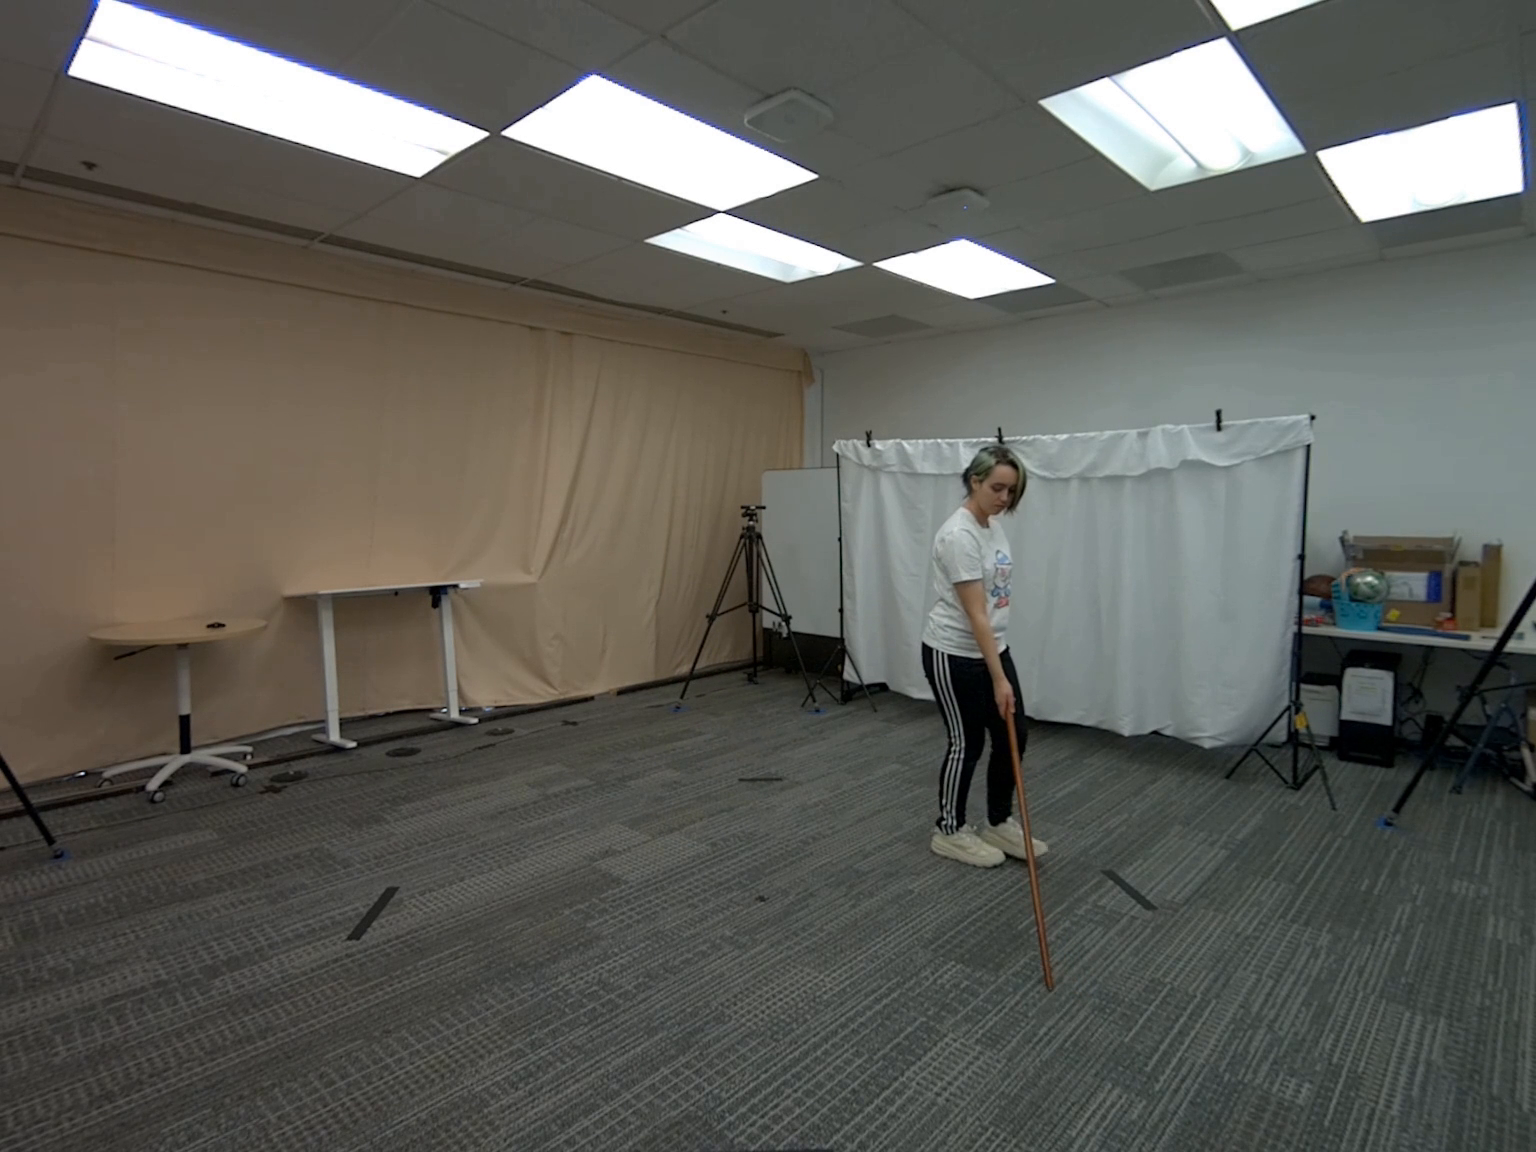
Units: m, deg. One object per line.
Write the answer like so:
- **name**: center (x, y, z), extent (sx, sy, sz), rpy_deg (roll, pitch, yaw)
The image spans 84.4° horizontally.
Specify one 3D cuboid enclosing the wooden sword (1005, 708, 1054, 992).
- **wooden sword**: center (0.864, 0.784, 2.744), extent (0.052, 1.039, 0.023), rpy_deg (-5, -38, 14)
